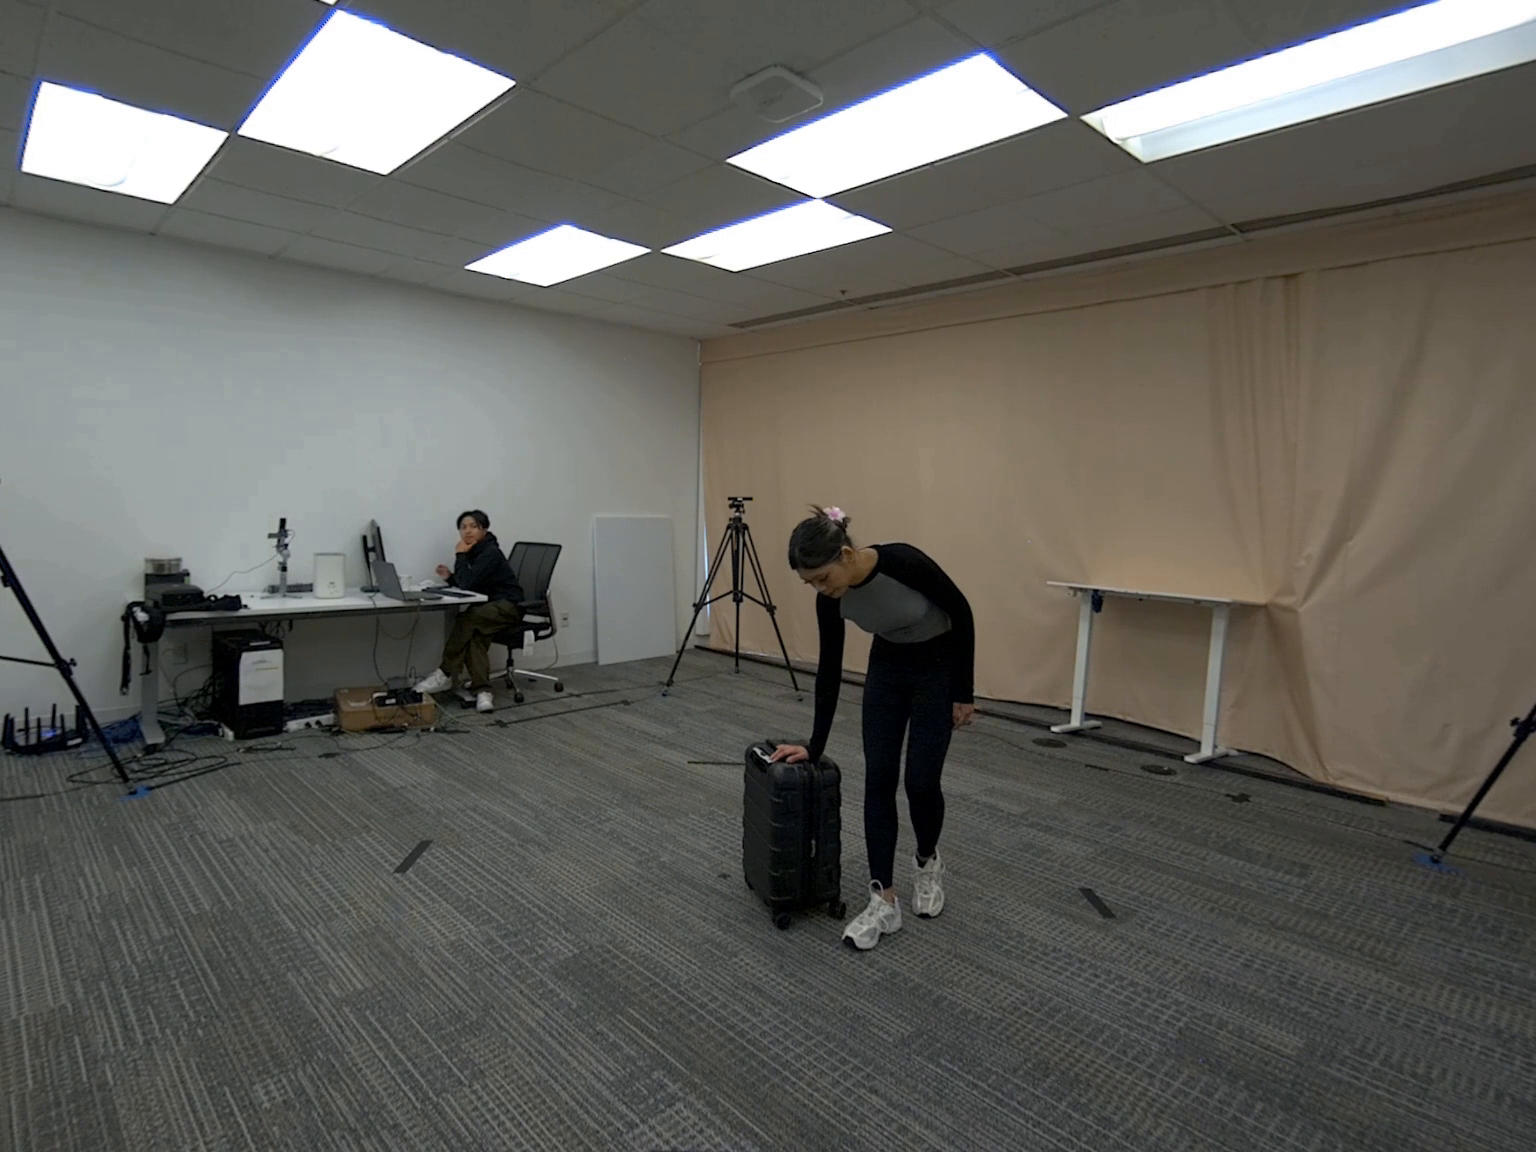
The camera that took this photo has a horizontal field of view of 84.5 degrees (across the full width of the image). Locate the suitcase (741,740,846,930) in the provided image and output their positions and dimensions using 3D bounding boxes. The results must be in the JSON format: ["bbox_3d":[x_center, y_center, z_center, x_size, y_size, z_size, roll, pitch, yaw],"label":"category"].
[{"bbox_3d":[0.071,0.855,2.895,0.245,0.548,0.382,0,5,-20],"label":"suitcase"}]
